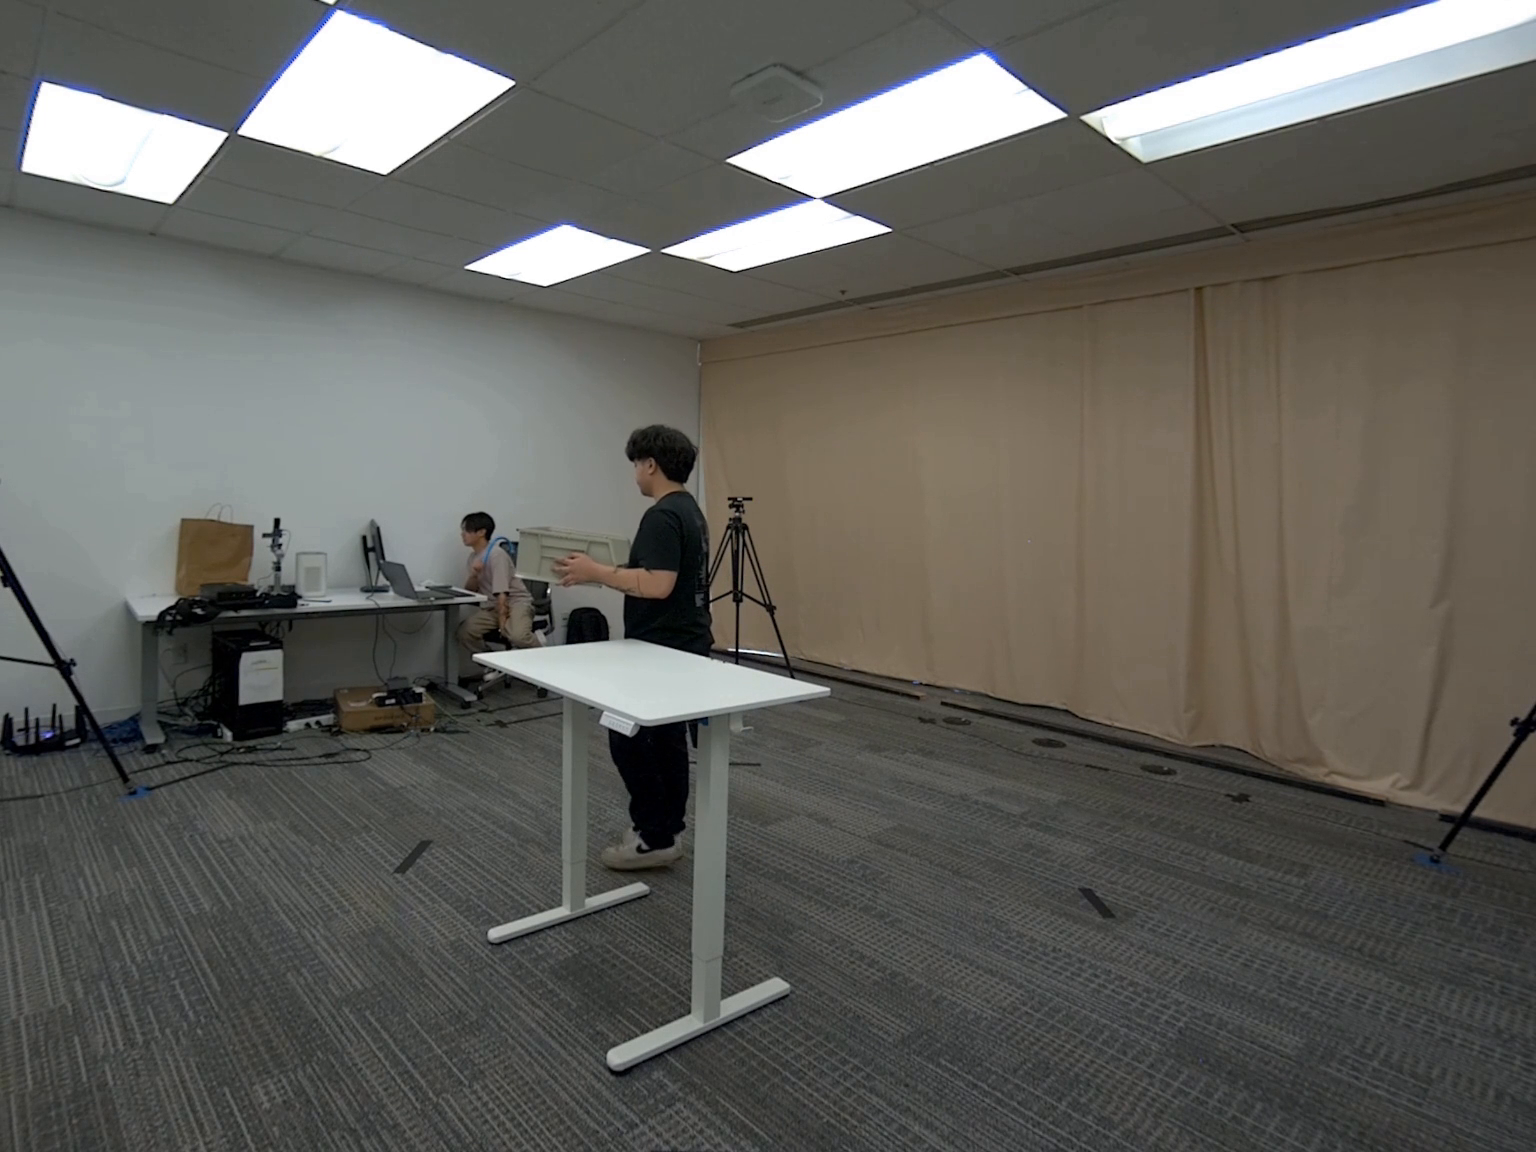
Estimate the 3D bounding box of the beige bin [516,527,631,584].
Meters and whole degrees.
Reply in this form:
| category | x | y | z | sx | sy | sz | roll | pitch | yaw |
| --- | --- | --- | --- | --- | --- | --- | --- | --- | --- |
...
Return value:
| category | x | y | z | sx | sy | sz | roll | pitch | yaw |
| --- | --- | --- | --- | --- | --- | --- | --- | --- | --- |
| beige bin | -0.732 | -0.076 | 3.223 | 0.377 | 0.188 | 0.424 | 4 | 4 | -2 |
